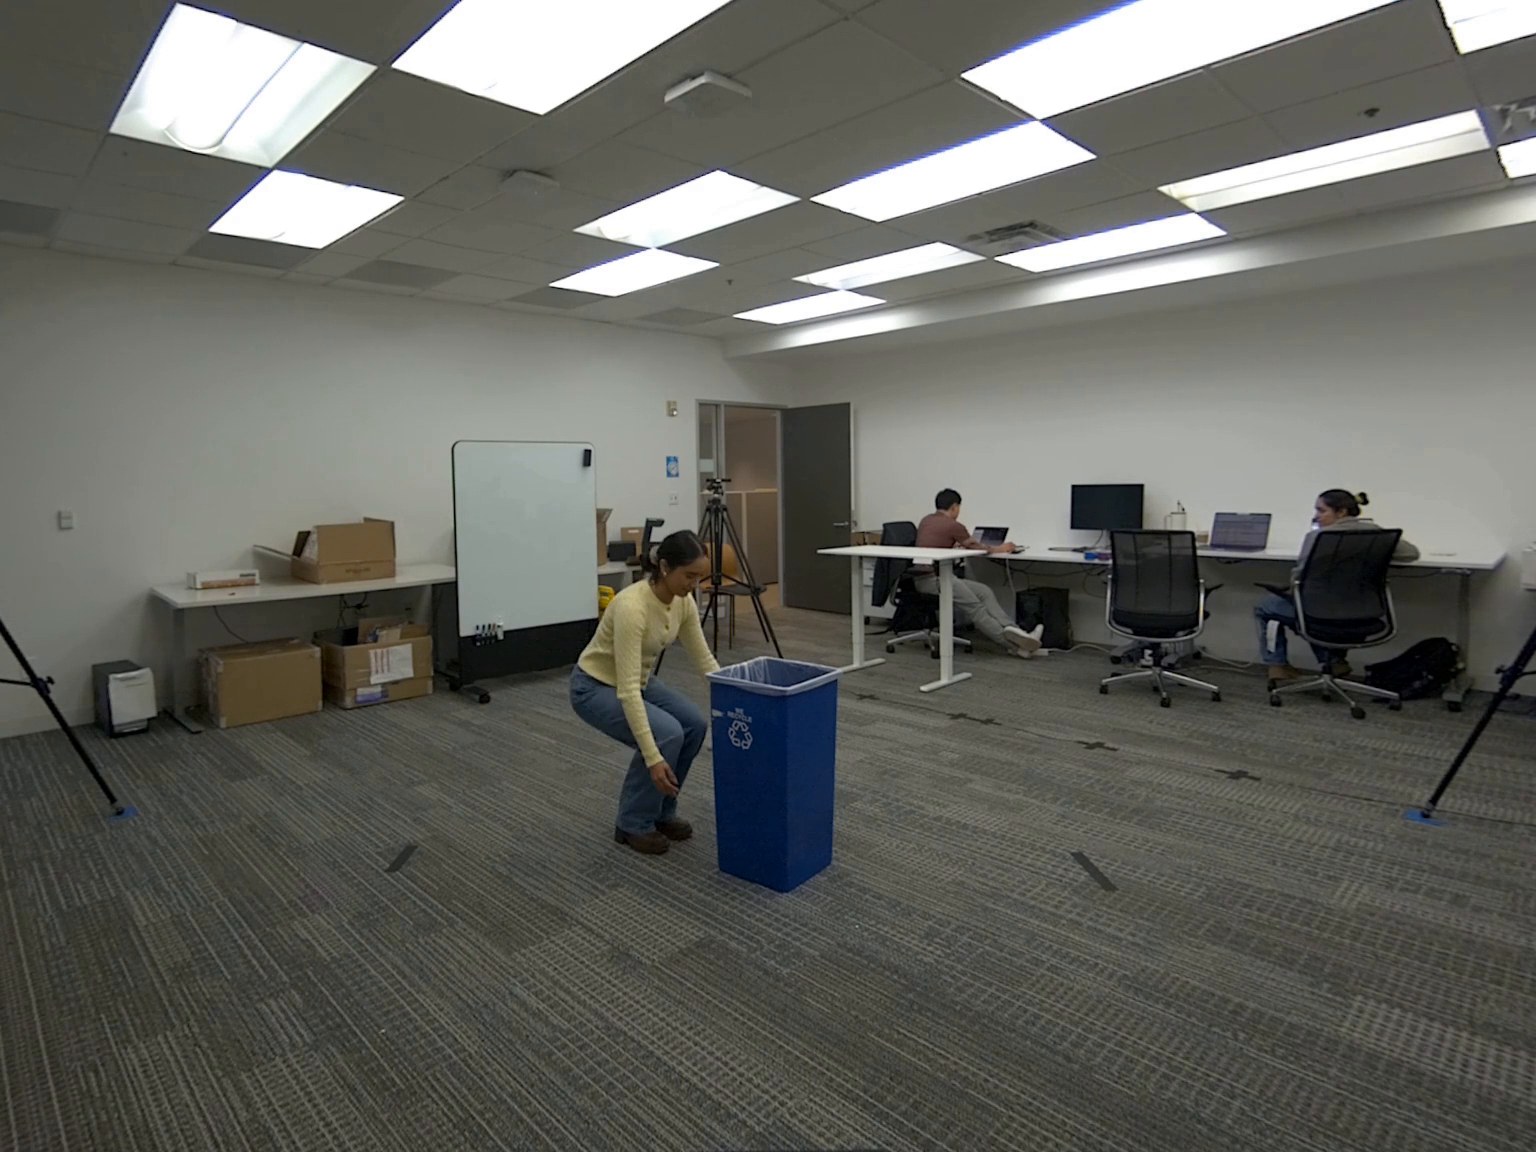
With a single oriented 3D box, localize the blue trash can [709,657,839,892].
[{"bbox_3d":[0.031,0.691,3.051,0.385,0.711,0.368,2,5,37],"label":"blue trash can"}]
